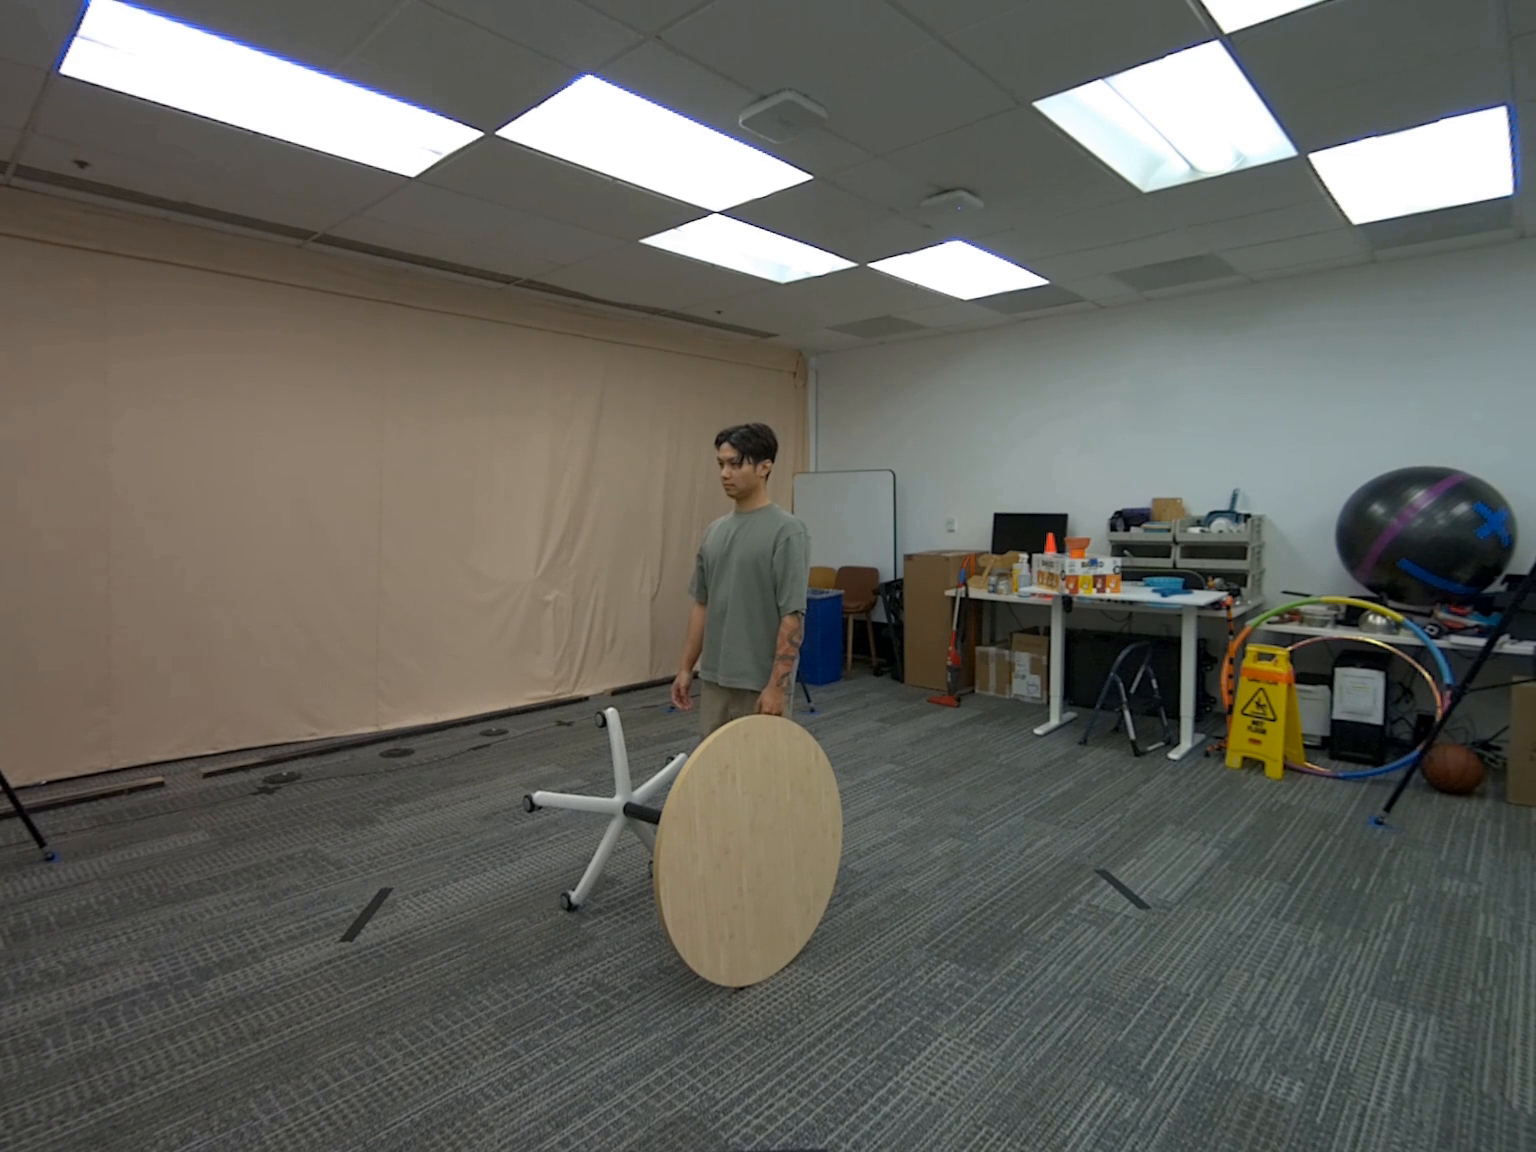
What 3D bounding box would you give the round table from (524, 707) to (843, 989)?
[{"bbox_3d":[-0.314,0.821,2.780,0.761,0.786,0.810,-4,-1,-44],"label":"round table"}]
